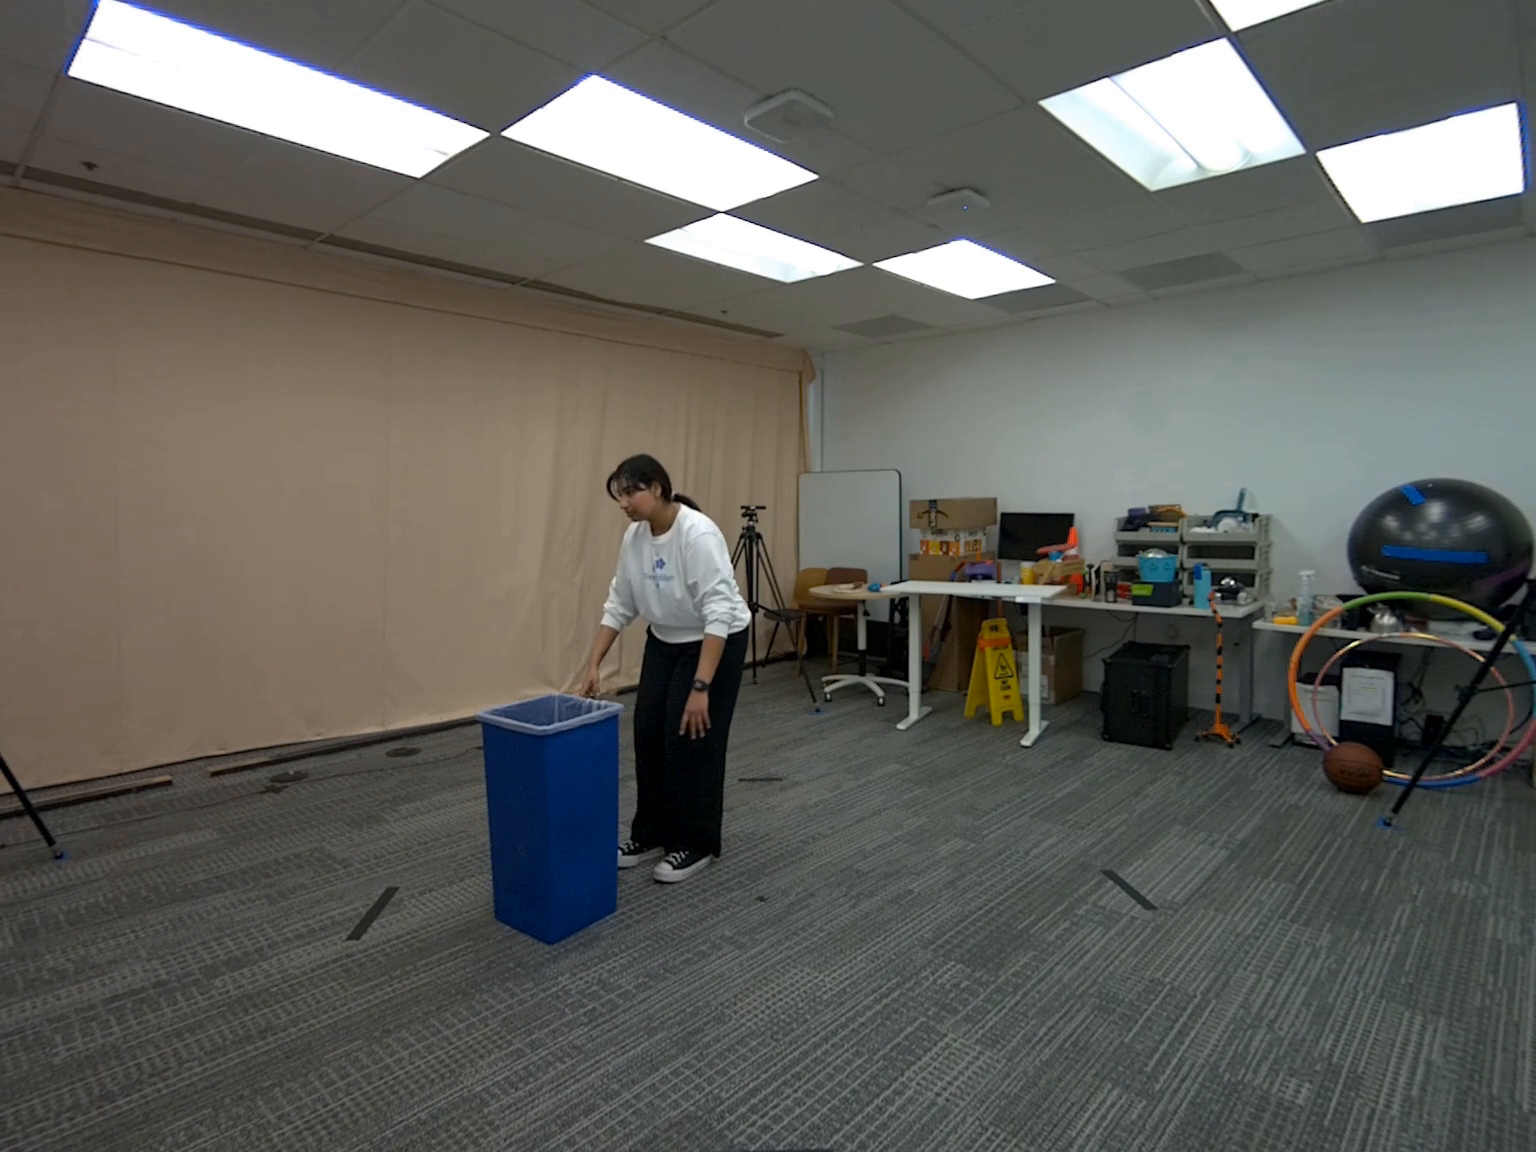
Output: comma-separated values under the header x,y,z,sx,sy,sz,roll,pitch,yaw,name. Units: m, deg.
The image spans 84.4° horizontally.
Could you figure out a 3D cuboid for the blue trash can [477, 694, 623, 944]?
x,y,z,sx,sy,sz,roll,pitch,yaw,name
-0.731,0.803,2.853,0.390,0.712,0.363,1,3,37,blue trash can
